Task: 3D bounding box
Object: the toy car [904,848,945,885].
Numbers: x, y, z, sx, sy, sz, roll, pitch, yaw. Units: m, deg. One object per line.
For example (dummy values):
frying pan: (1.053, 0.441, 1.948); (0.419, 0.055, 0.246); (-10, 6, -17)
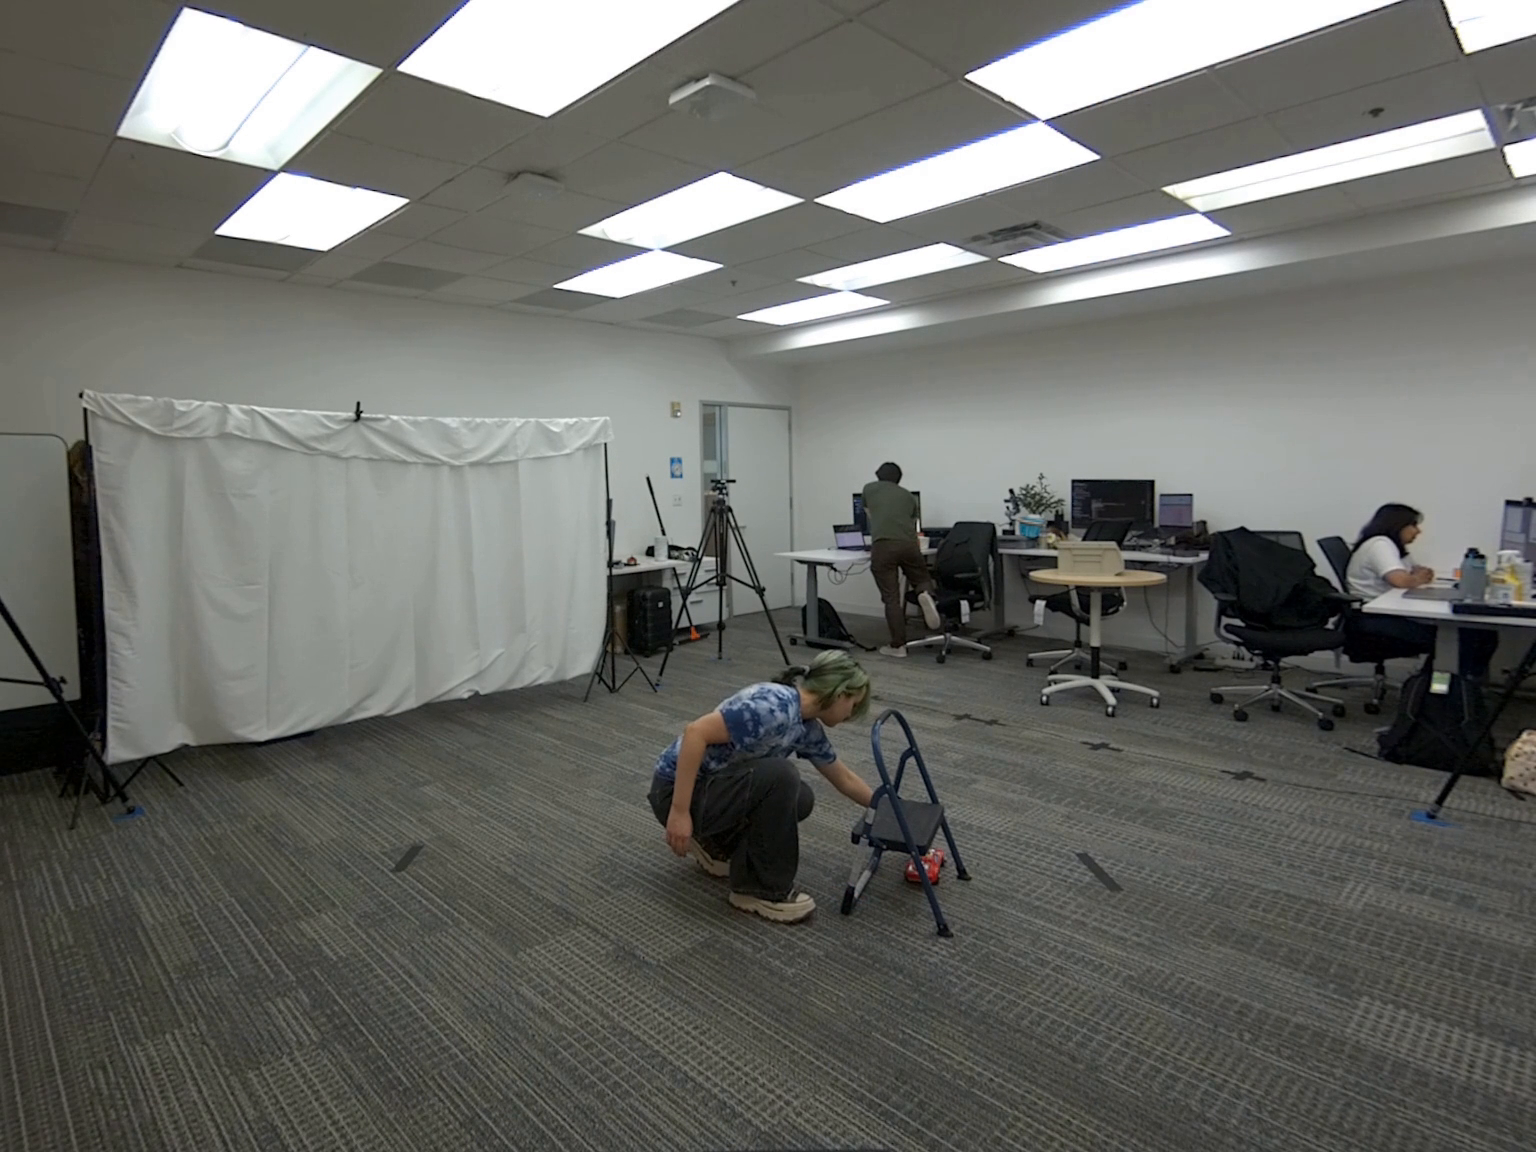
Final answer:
toy car: (0.549, 1.020, 2.989); (0.133, 0.084, 0.247); (-1, -7, 24)
